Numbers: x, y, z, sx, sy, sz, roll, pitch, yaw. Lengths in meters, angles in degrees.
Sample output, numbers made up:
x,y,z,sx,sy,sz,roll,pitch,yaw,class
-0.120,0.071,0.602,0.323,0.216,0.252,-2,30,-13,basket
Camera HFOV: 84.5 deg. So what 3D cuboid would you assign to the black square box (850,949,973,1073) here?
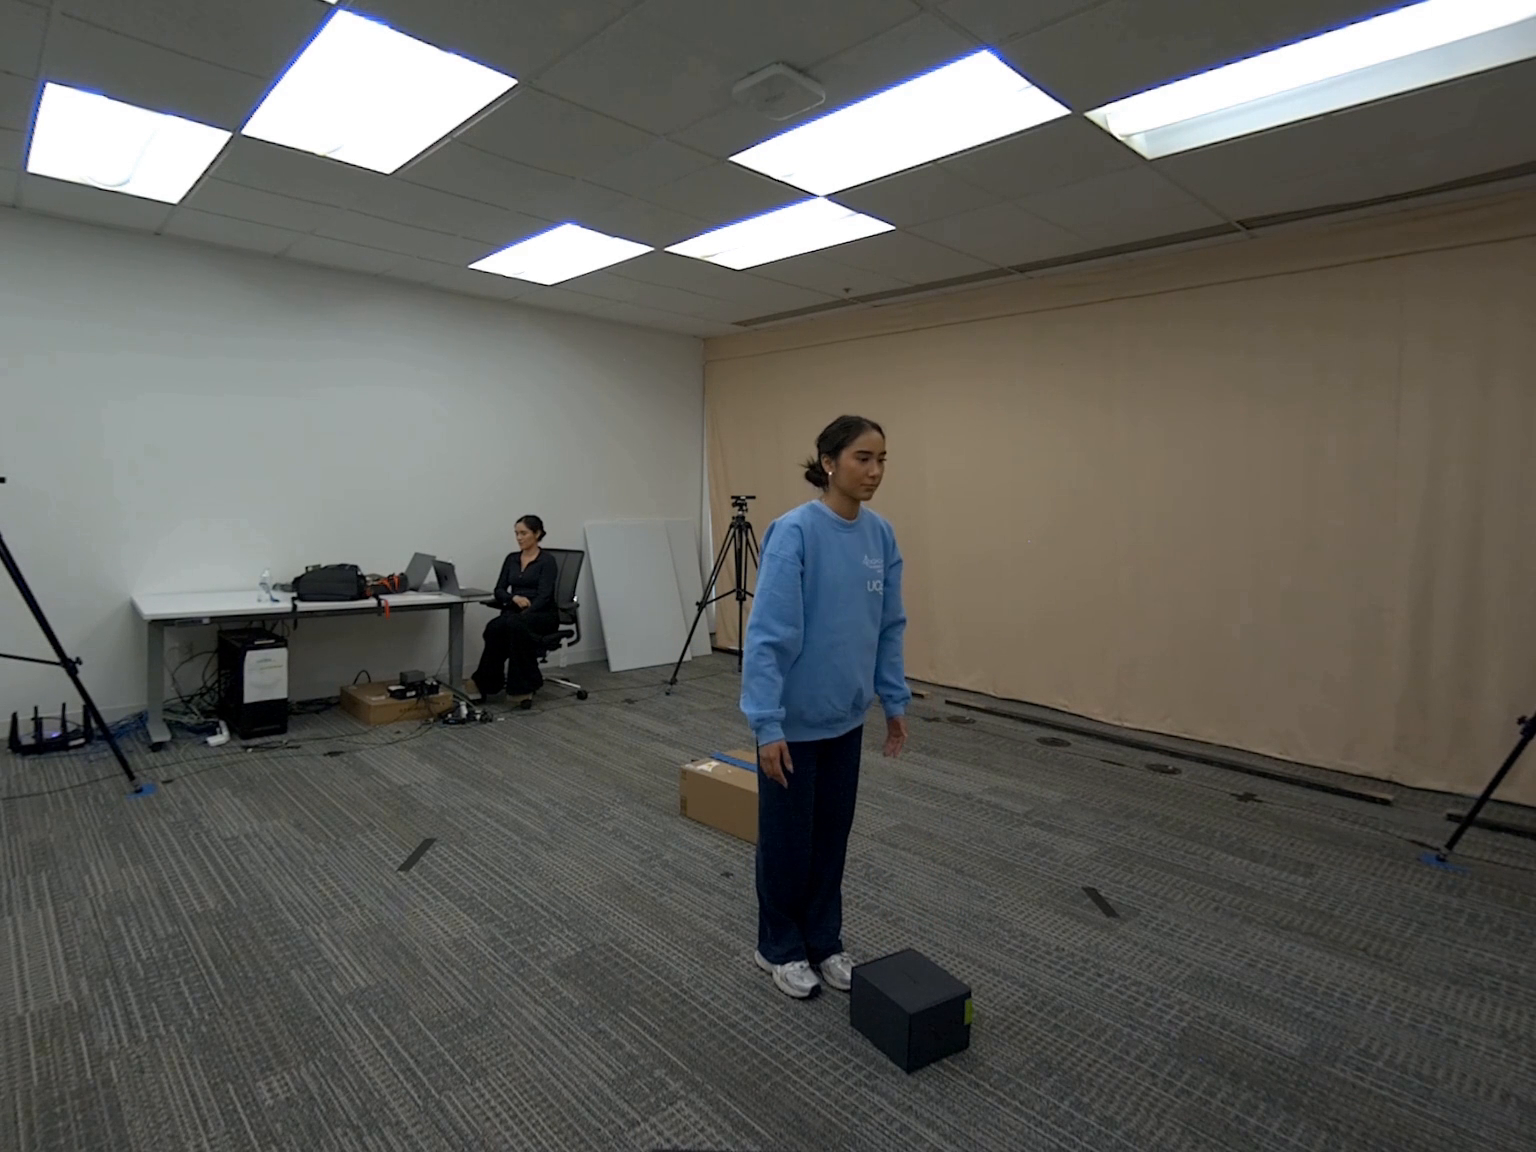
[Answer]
x,y,z,sx,sy,sz,roll,pitch,yaw,class
0.360,1.120,2.182,0.212,0.155,0.233,0,5,-33,black square box
